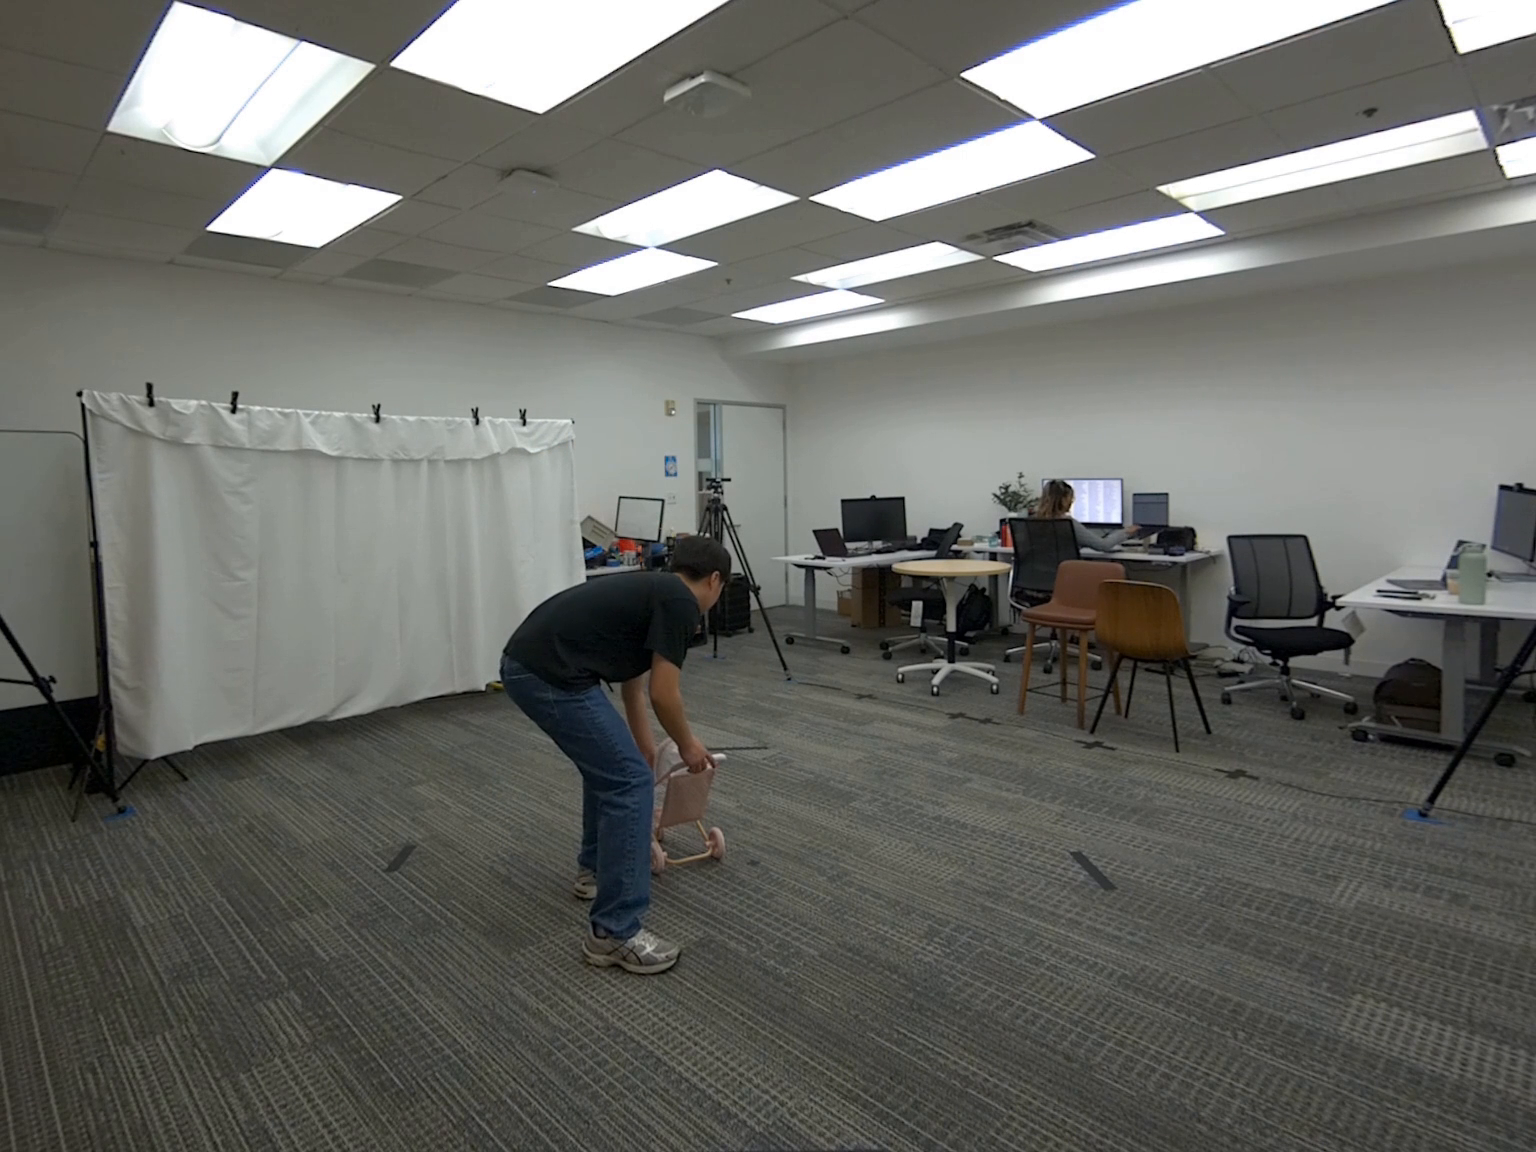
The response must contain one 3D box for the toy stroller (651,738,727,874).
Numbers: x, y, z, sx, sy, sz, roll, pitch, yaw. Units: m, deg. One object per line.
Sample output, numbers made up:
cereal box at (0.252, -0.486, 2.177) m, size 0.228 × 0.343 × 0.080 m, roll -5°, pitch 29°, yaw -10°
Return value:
toy stroller at (-0.324, 0.815, 3.144) m, size 0.275 × 0.527 × 0.353 m, roll -3°, pitch 20°, yaw -25°
